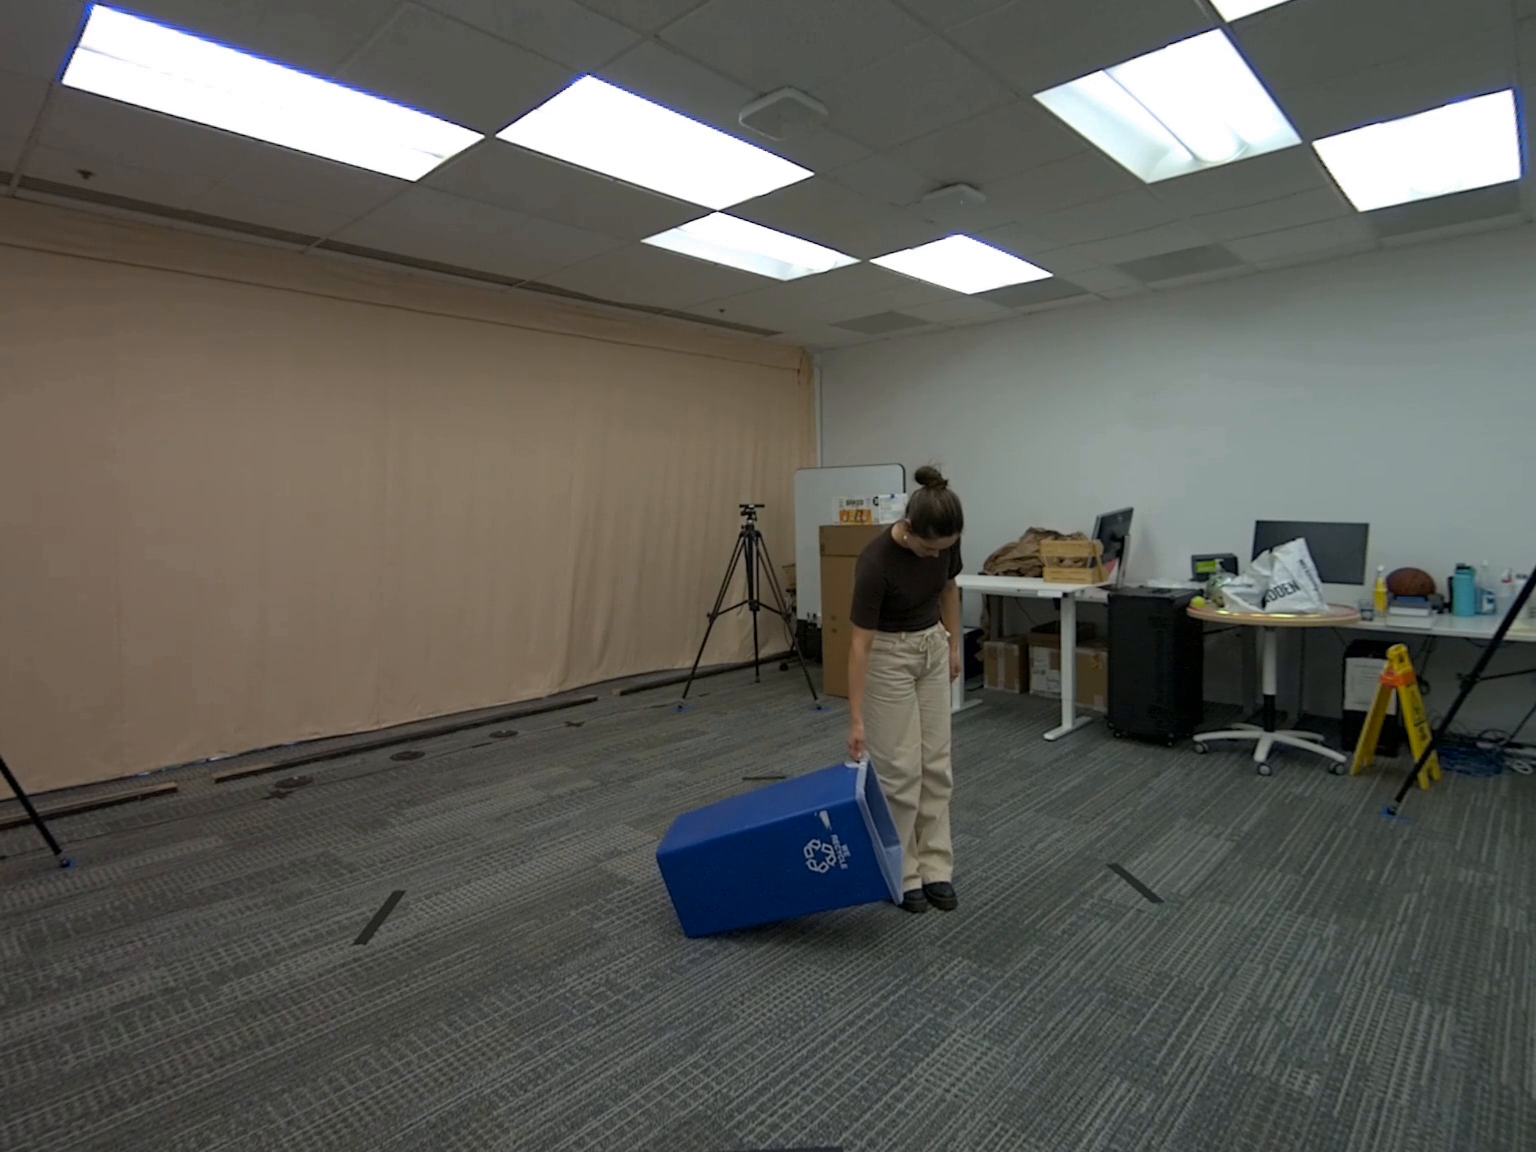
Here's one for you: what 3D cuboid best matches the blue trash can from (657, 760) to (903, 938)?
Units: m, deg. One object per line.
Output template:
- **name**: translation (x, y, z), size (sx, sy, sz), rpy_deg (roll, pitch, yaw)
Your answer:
- **blue trash can**: translation (0.050, 0.901, 2.746), size (0.720, 0.373, 0.376), rpy_deg (-21, 5, 12)
